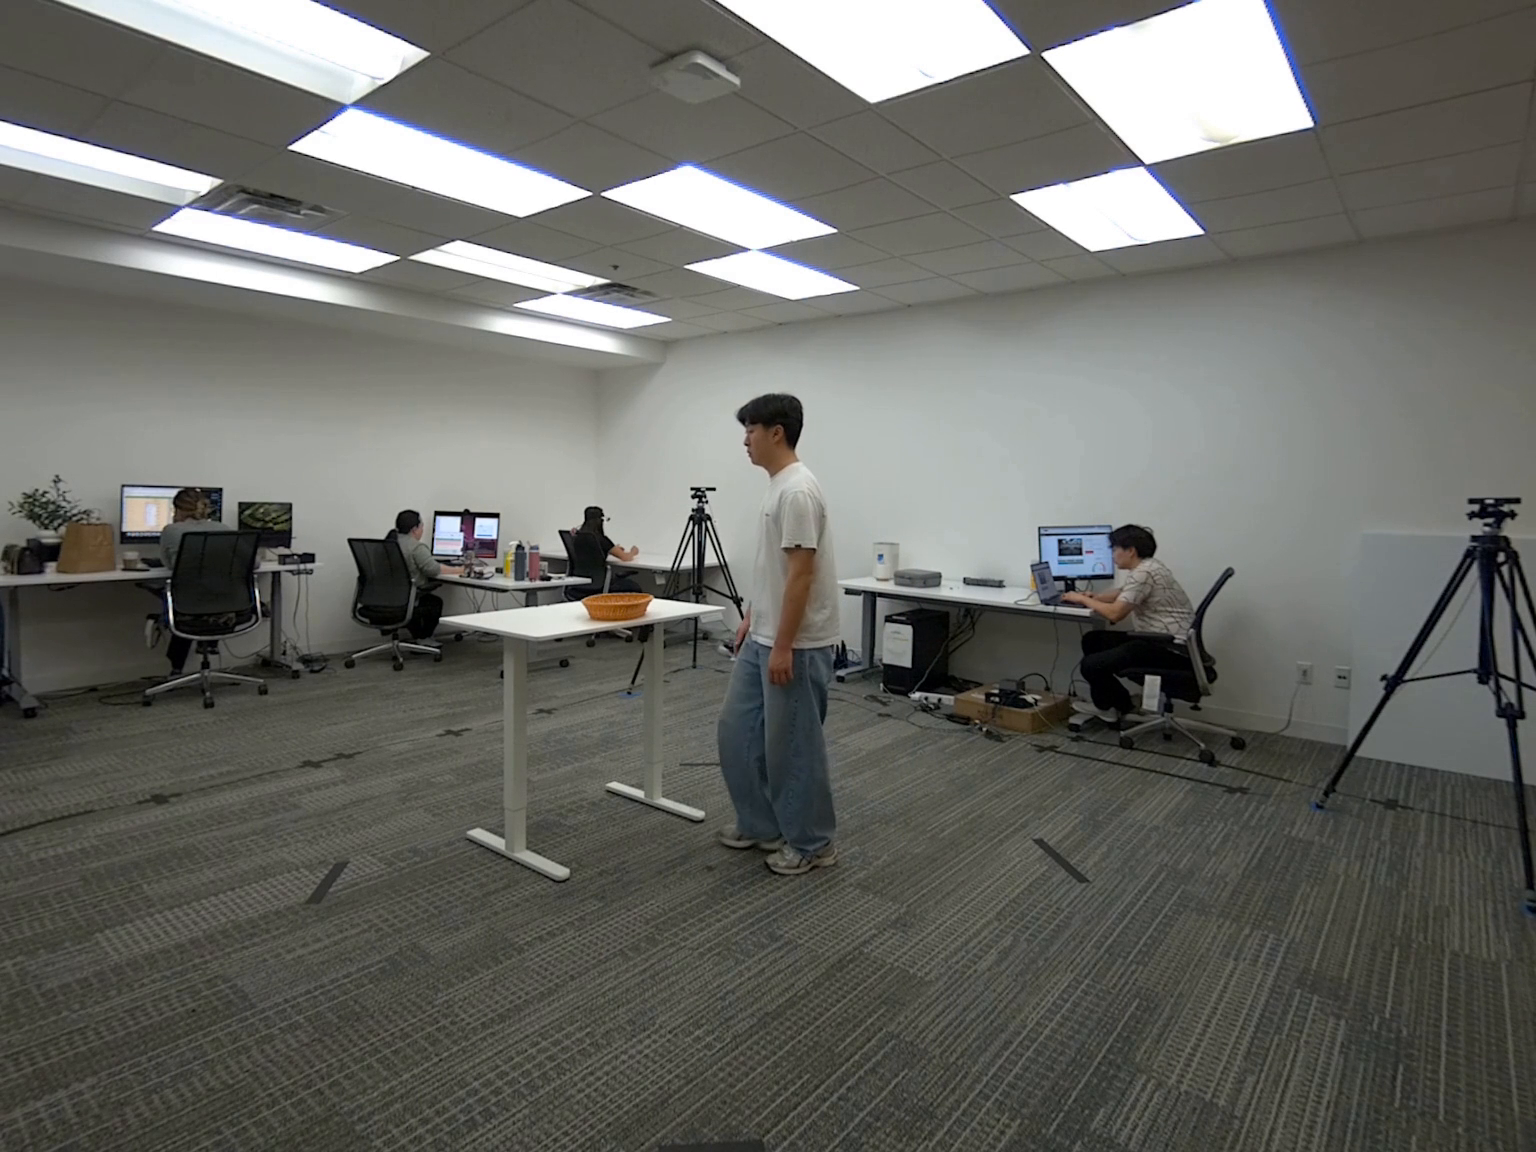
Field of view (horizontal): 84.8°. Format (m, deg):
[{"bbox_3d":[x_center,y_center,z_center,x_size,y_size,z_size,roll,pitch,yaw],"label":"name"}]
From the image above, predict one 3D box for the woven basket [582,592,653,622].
[{"bbox_3d":[-0.605,0.123,3.348,0.258,0.073,0.345,3,6,18],"label":"woven basket"}]
